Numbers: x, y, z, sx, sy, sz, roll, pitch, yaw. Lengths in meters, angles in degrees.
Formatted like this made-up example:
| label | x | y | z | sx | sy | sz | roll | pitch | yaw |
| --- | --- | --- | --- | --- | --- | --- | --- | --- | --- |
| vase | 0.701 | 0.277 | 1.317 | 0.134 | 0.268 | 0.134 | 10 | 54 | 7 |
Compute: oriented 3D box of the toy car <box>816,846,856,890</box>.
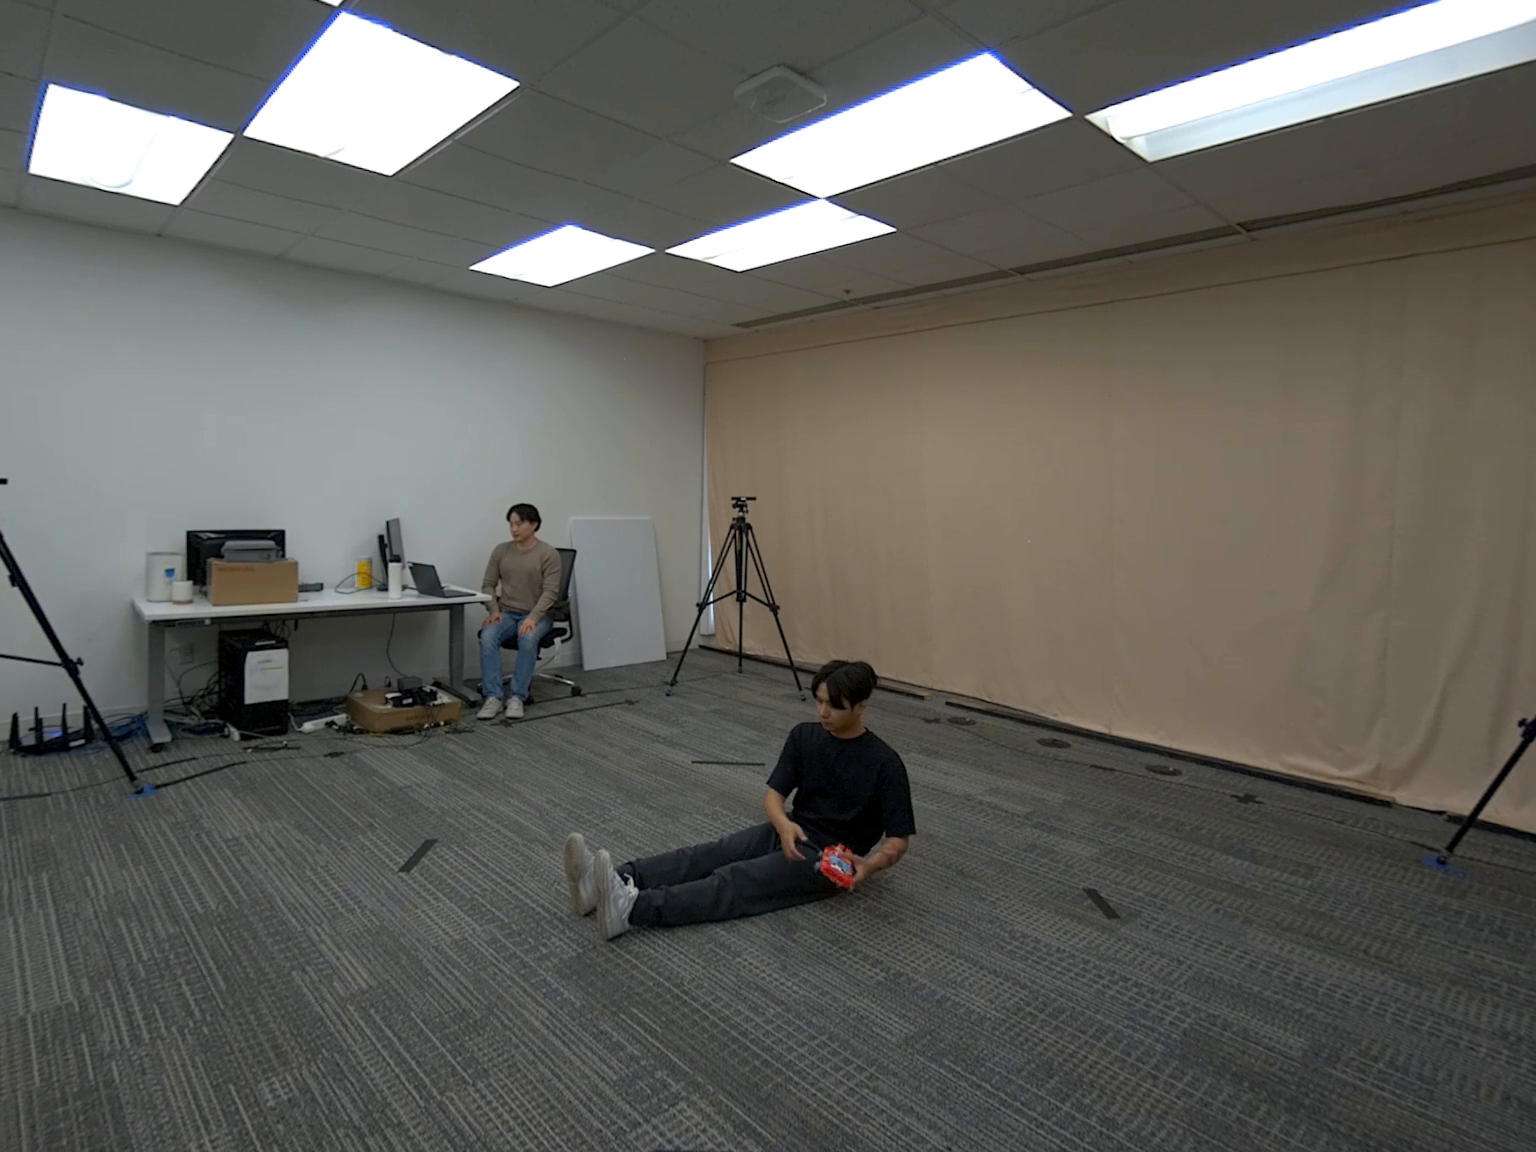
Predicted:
| label | x | y | z | sx | sy | sz | roll | pitch | yaw |
| --- | --- | --- | --- | --- | --- | --- | --- | --- | --- |
| toy car | 0.210 | 0.933 | 2.702 | 0.131 | 0.083 | 0.253 | 32 | 10 | 8 |
